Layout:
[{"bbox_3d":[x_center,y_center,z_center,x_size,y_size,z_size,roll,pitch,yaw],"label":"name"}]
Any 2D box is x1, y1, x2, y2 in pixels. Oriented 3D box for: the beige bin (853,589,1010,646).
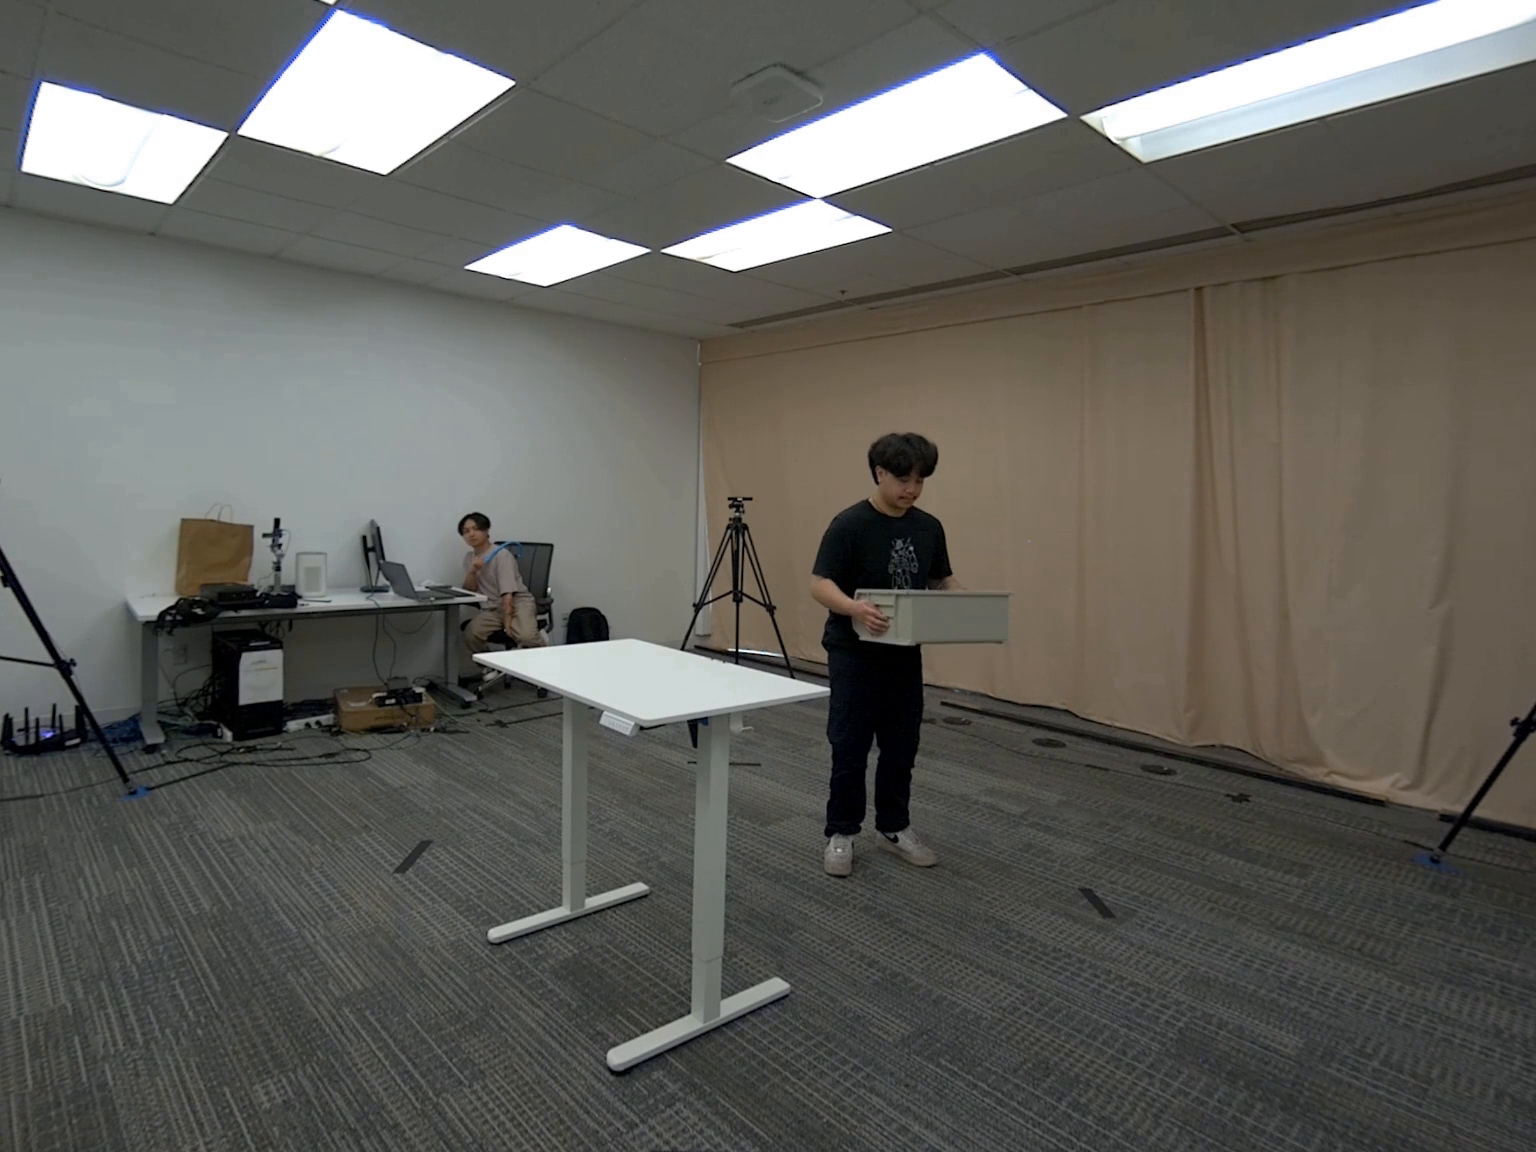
[{"bbox_3d":[0.565,0.140,2.939,0.416,0.189,0.383,2,1,-20],"label":"beige bin"}]
